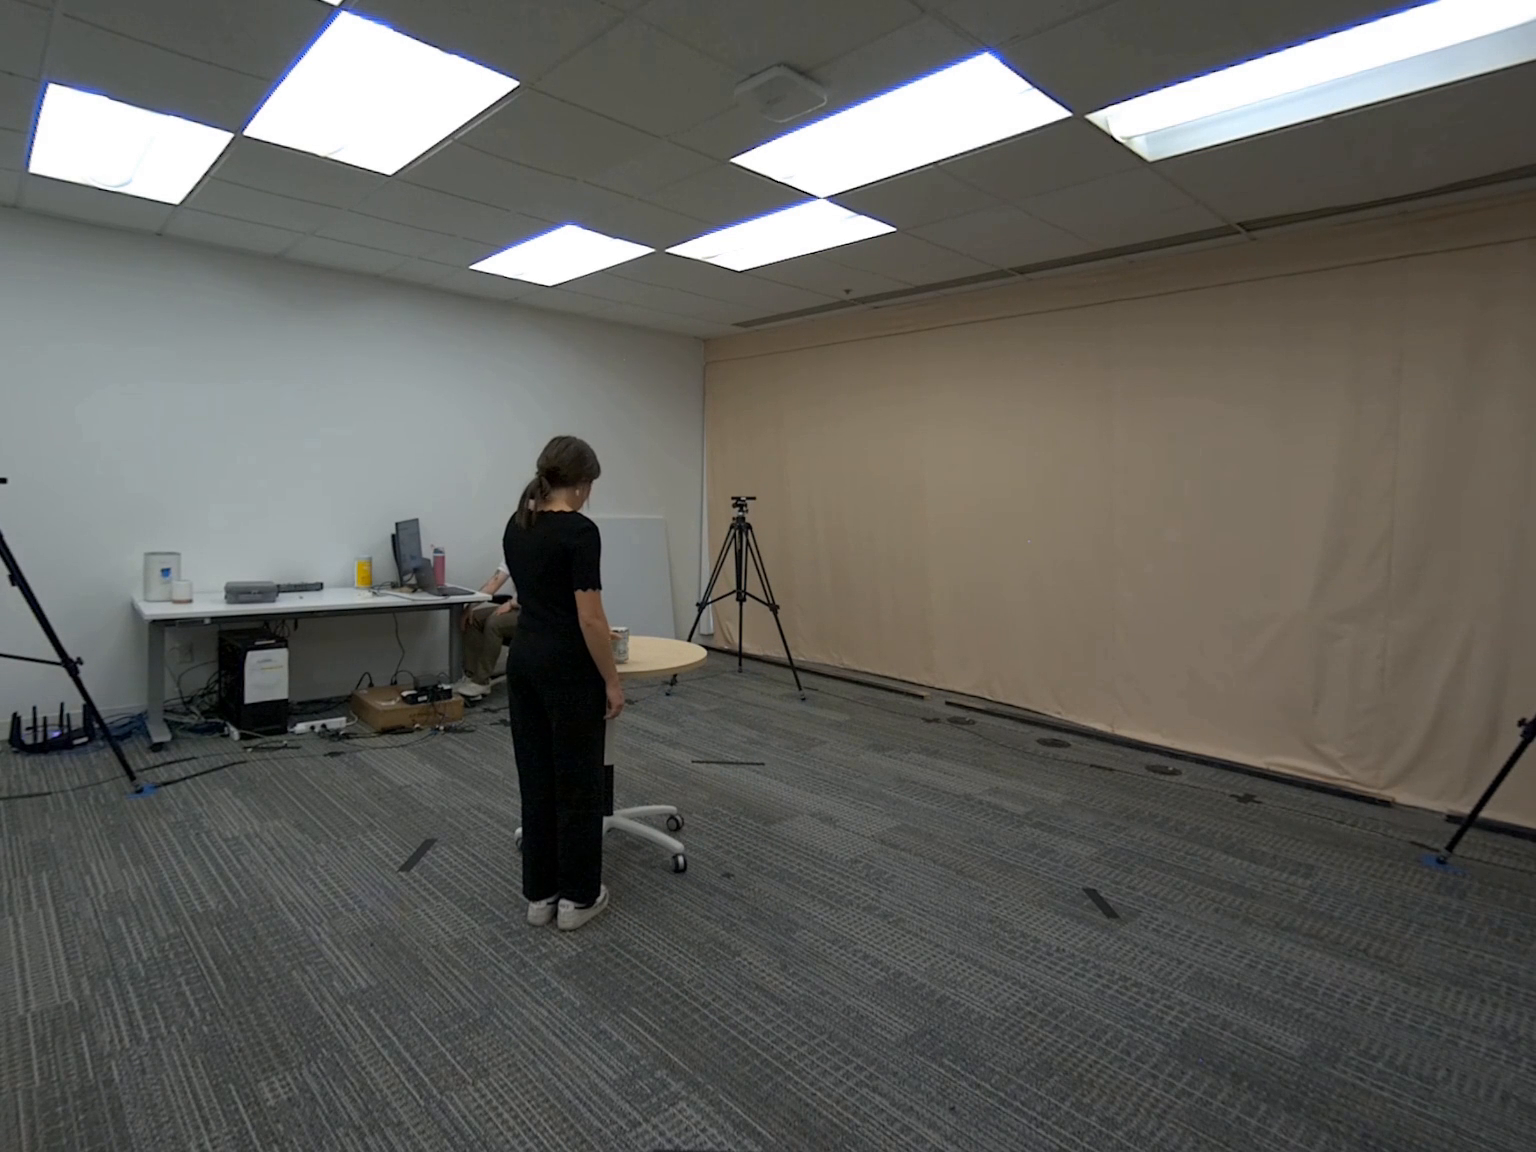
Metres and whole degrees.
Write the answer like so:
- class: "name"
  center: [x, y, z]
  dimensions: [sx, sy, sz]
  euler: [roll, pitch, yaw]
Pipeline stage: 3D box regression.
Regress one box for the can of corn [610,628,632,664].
- class: "can of corn"
  center: [-0.540, 0.251, 3.059]
  dimensions: [0.074, 0.110, 0.074]
  euler: [3, 5, -2]
